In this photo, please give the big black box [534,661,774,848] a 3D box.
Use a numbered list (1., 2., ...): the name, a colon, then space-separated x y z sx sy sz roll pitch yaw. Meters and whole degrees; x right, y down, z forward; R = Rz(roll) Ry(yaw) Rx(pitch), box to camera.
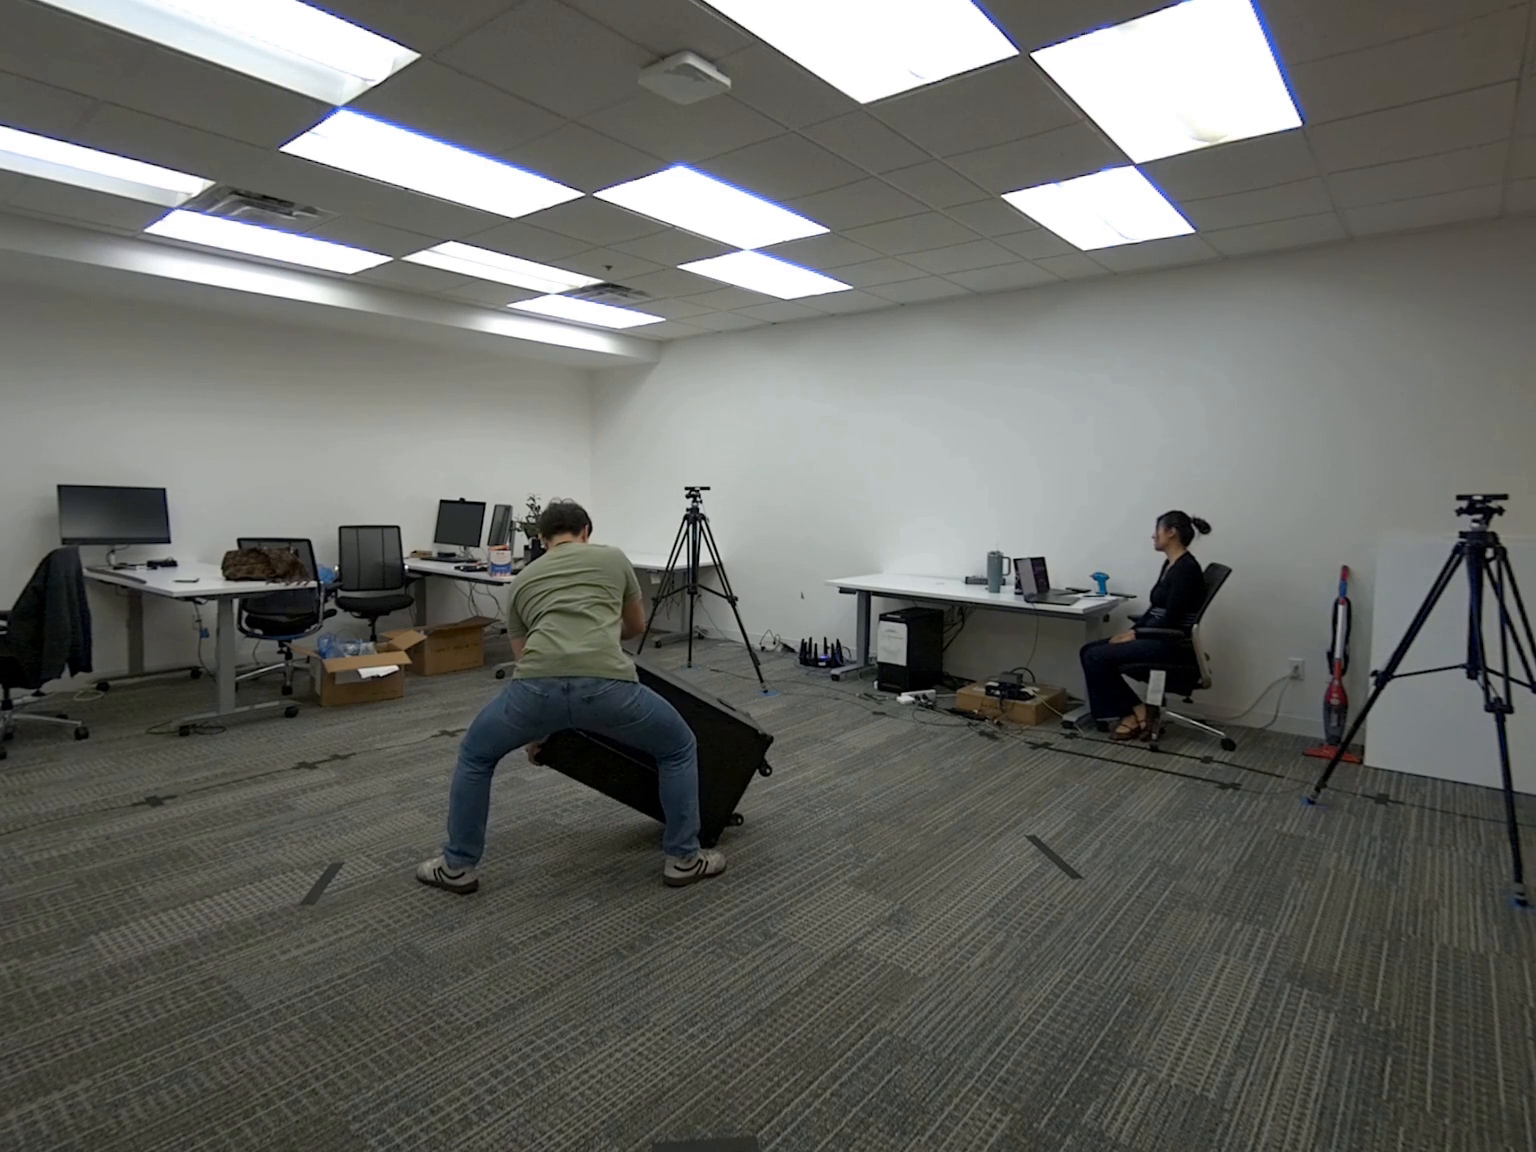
1. big black box: -0.441 0.647 3.378 0.844 0.522 0.404 31 -4 -16
